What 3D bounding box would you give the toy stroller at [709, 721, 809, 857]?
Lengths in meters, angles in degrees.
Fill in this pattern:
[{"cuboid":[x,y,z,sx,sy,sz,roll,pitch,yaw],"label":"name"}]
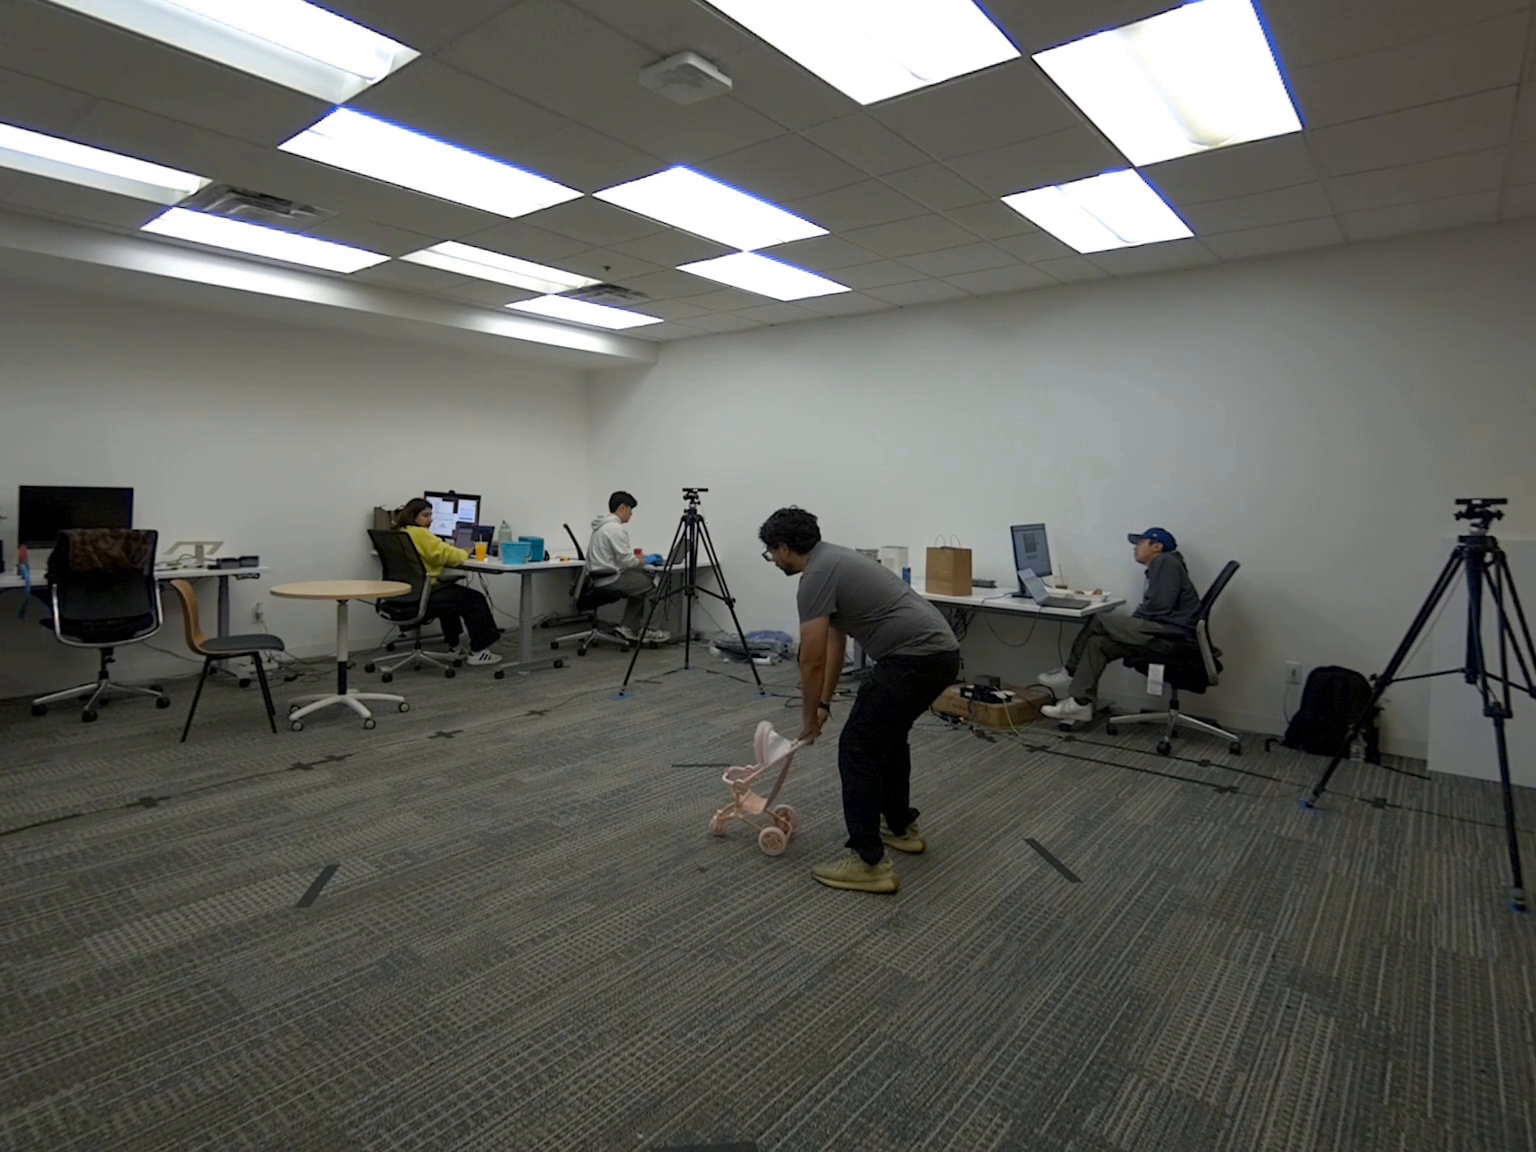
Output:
[{"cuboid":[-0.036,0.816,3.377,0.349,0.533,0.276,15,6,17],"label":"toy stroller"}]
